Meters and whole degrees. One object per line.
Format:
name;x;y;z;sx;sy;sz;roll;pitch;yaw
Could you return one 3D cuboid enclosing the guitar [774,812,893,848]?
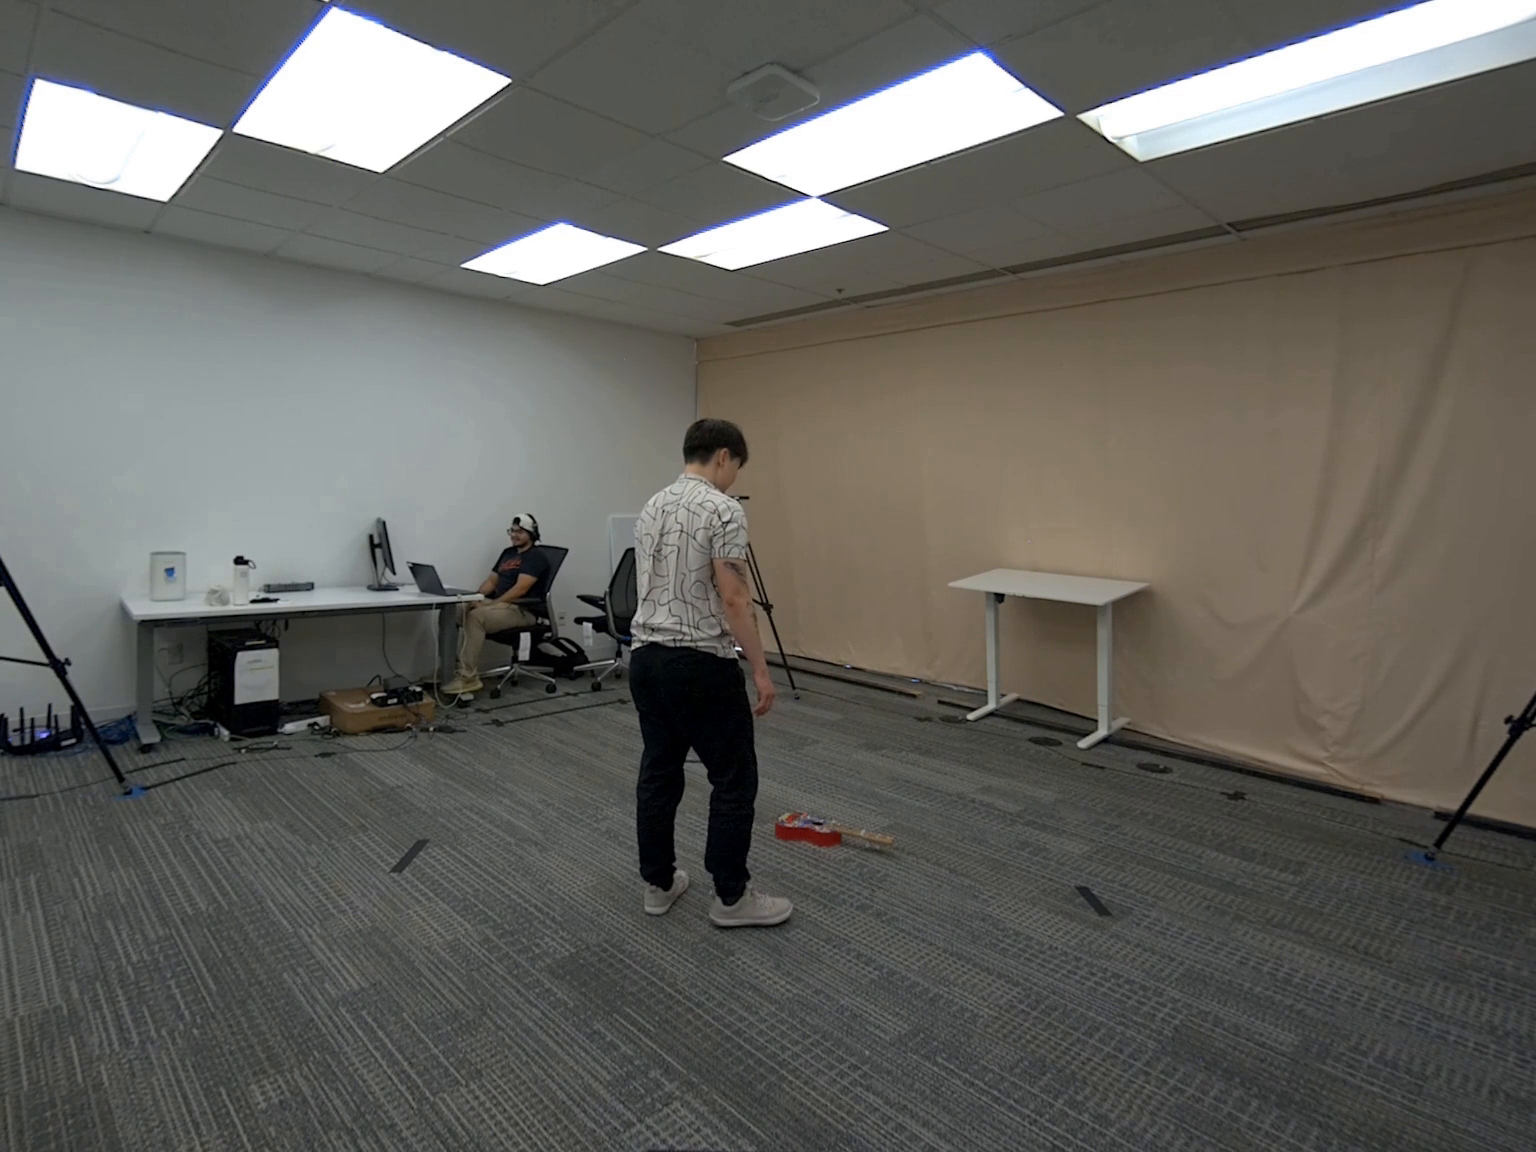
guitar;0.245;1.054;3.409;0.510;0.070;0.189;5;5;38
